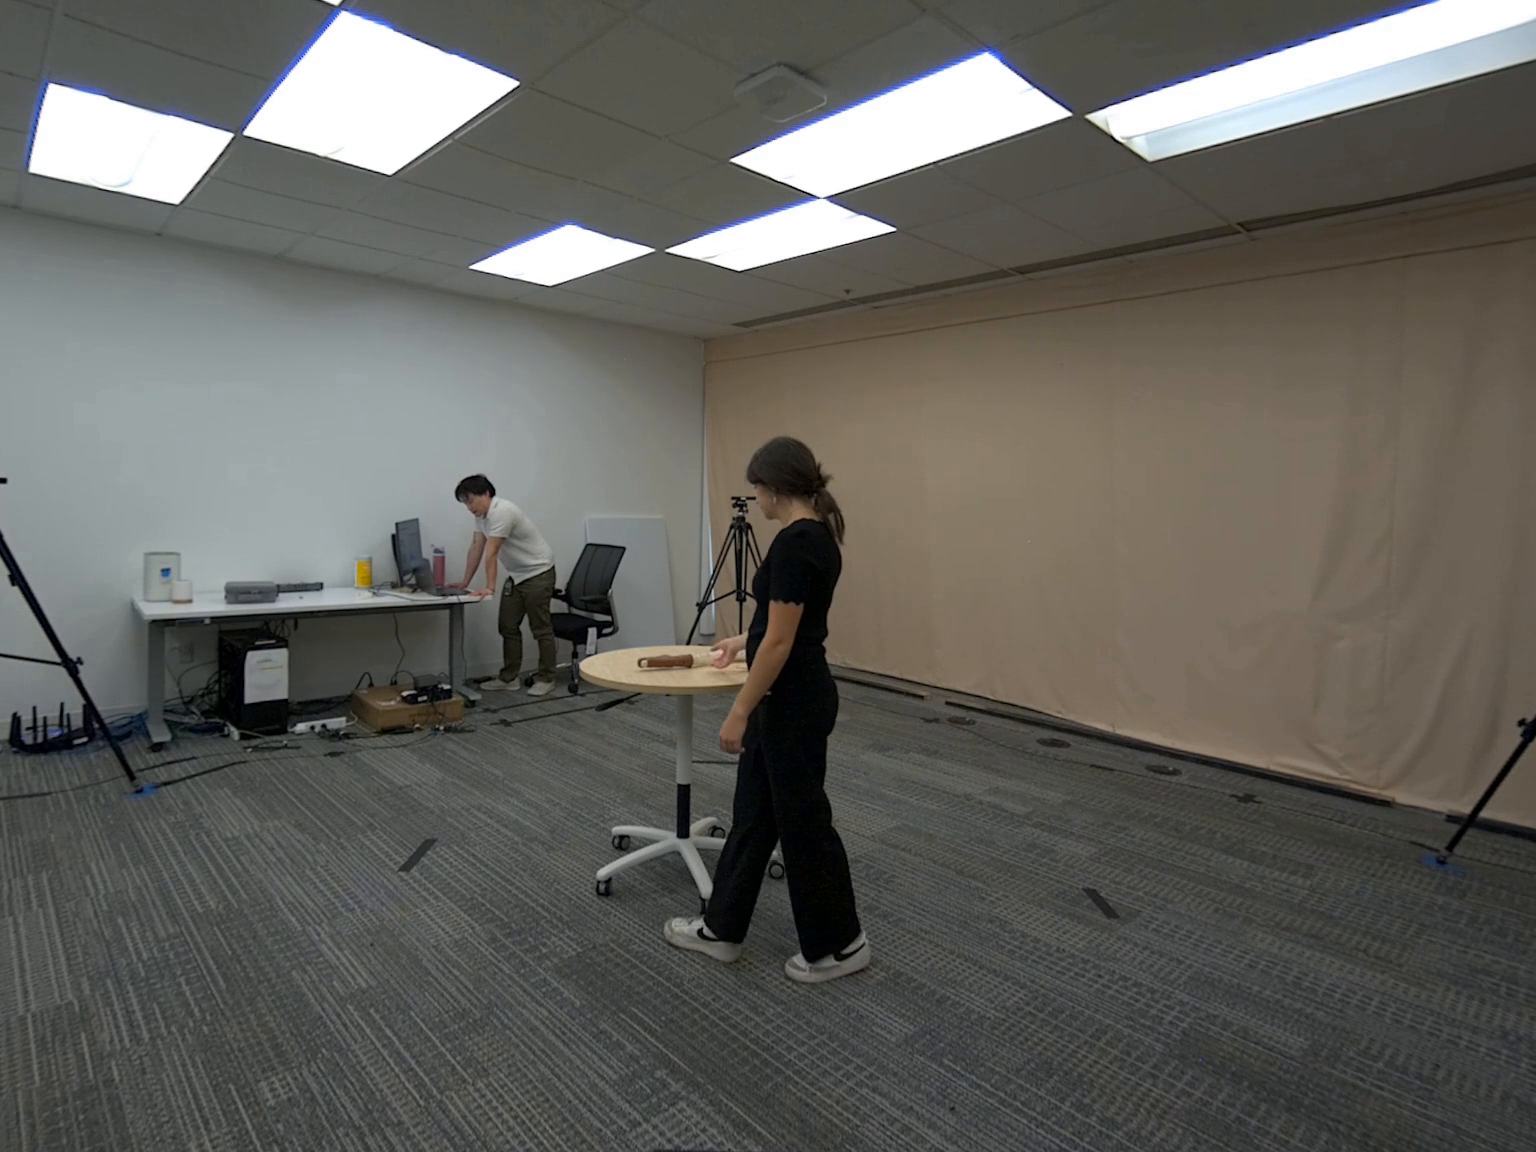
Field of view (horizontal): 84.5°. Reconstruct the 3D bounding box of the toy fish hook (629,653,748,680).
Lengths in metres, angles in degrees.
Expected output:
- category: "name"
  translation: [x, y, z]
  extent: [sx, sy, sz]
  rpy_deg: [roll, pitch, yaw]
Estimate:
- category: "toy fish hook"
  translation: [-0.213, 0.308, 2.981]
  extent: [0.497, 0.048, 0.228]
  rpy_deg: [-1, 0, -25]
